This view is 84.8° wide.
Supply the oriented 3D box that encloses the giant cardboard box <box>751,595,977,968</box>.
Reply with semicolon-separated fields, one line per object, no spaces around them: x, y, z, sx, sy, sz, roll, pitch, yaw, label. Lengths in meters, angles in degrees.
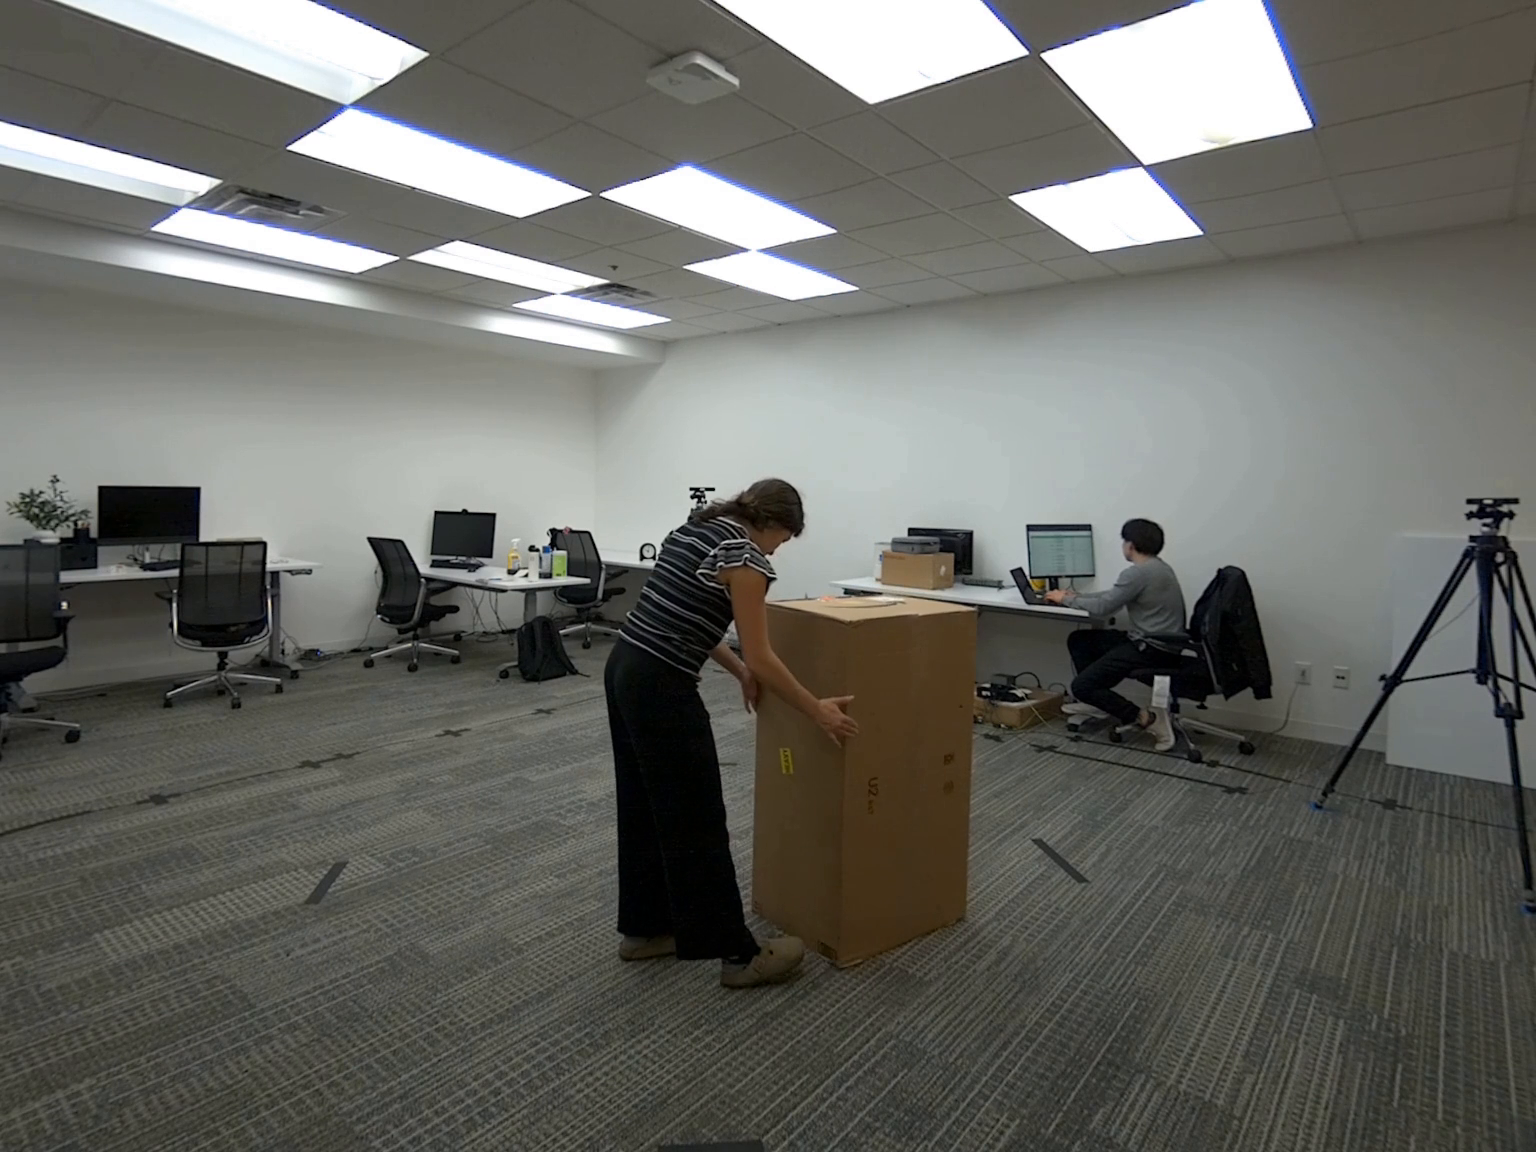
0.303;0.601;2.781;0.560;1.023;0.440;-1;4;-38;giant cardboard box
